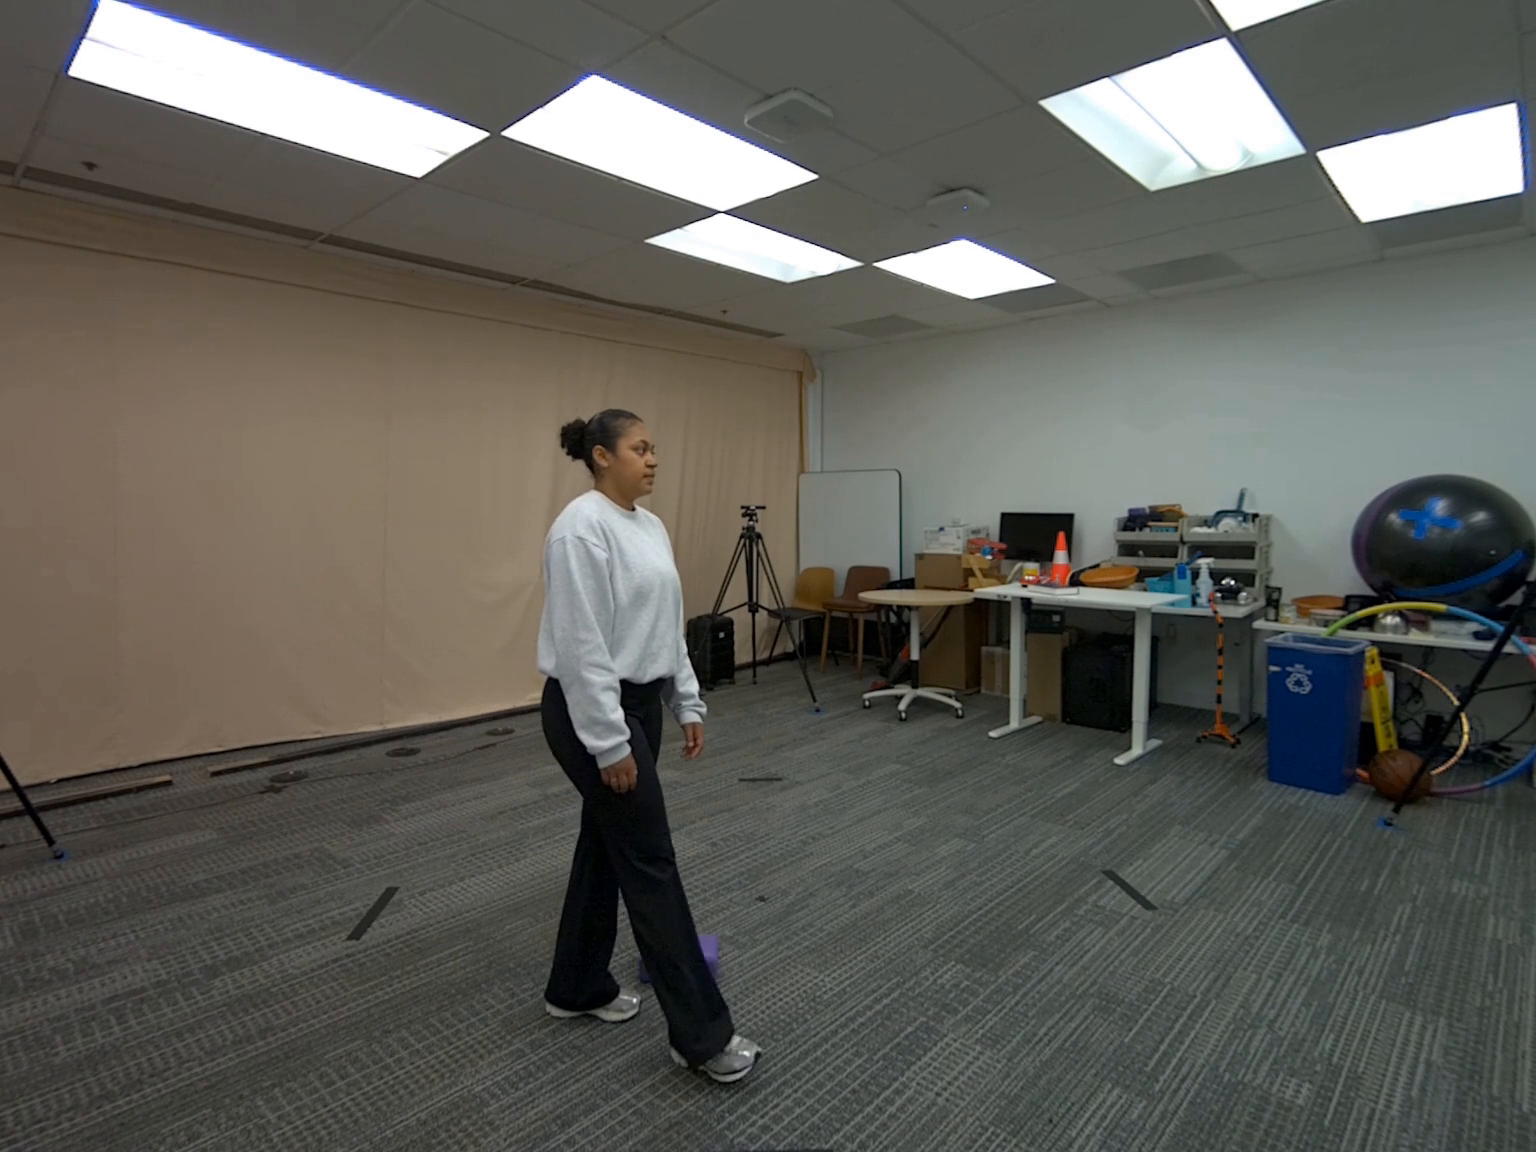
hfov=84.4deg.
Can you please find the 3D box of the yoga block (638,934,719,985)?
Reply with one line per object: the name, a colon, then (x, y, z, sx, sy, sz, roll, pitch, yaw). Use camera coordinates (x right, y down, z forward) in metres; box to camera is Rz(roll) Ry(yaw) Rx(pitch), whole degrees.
yoga block: (-0.262, 1.146, 2.519, 0.230, 0.076, 0.149, 0, 3, 1)
